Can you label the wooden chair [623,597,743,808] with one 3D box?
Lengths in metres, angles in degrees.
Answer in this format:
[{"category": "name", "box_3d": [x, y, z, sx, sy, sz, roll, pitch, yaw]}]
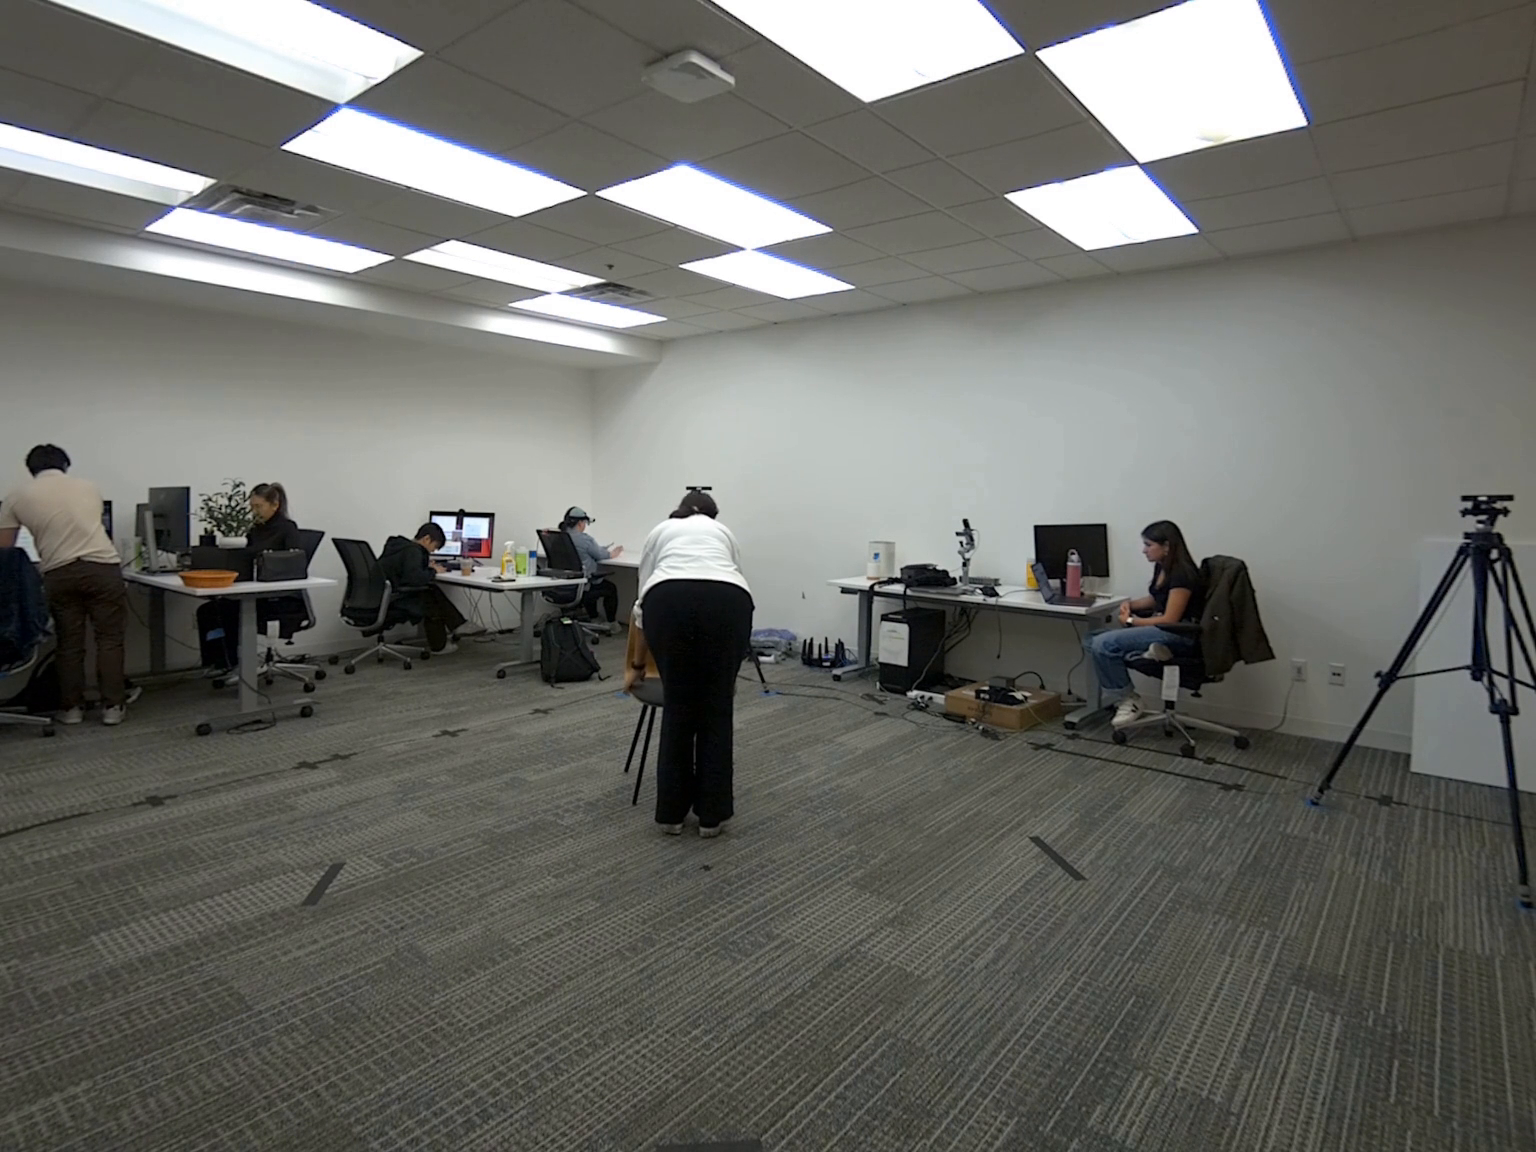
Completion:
[{"category": "wooden chair", "box_3d": [-0.413, 0.549, 3.939, 0.472, 0.879, 0.529, 1, -1, -12]}]
